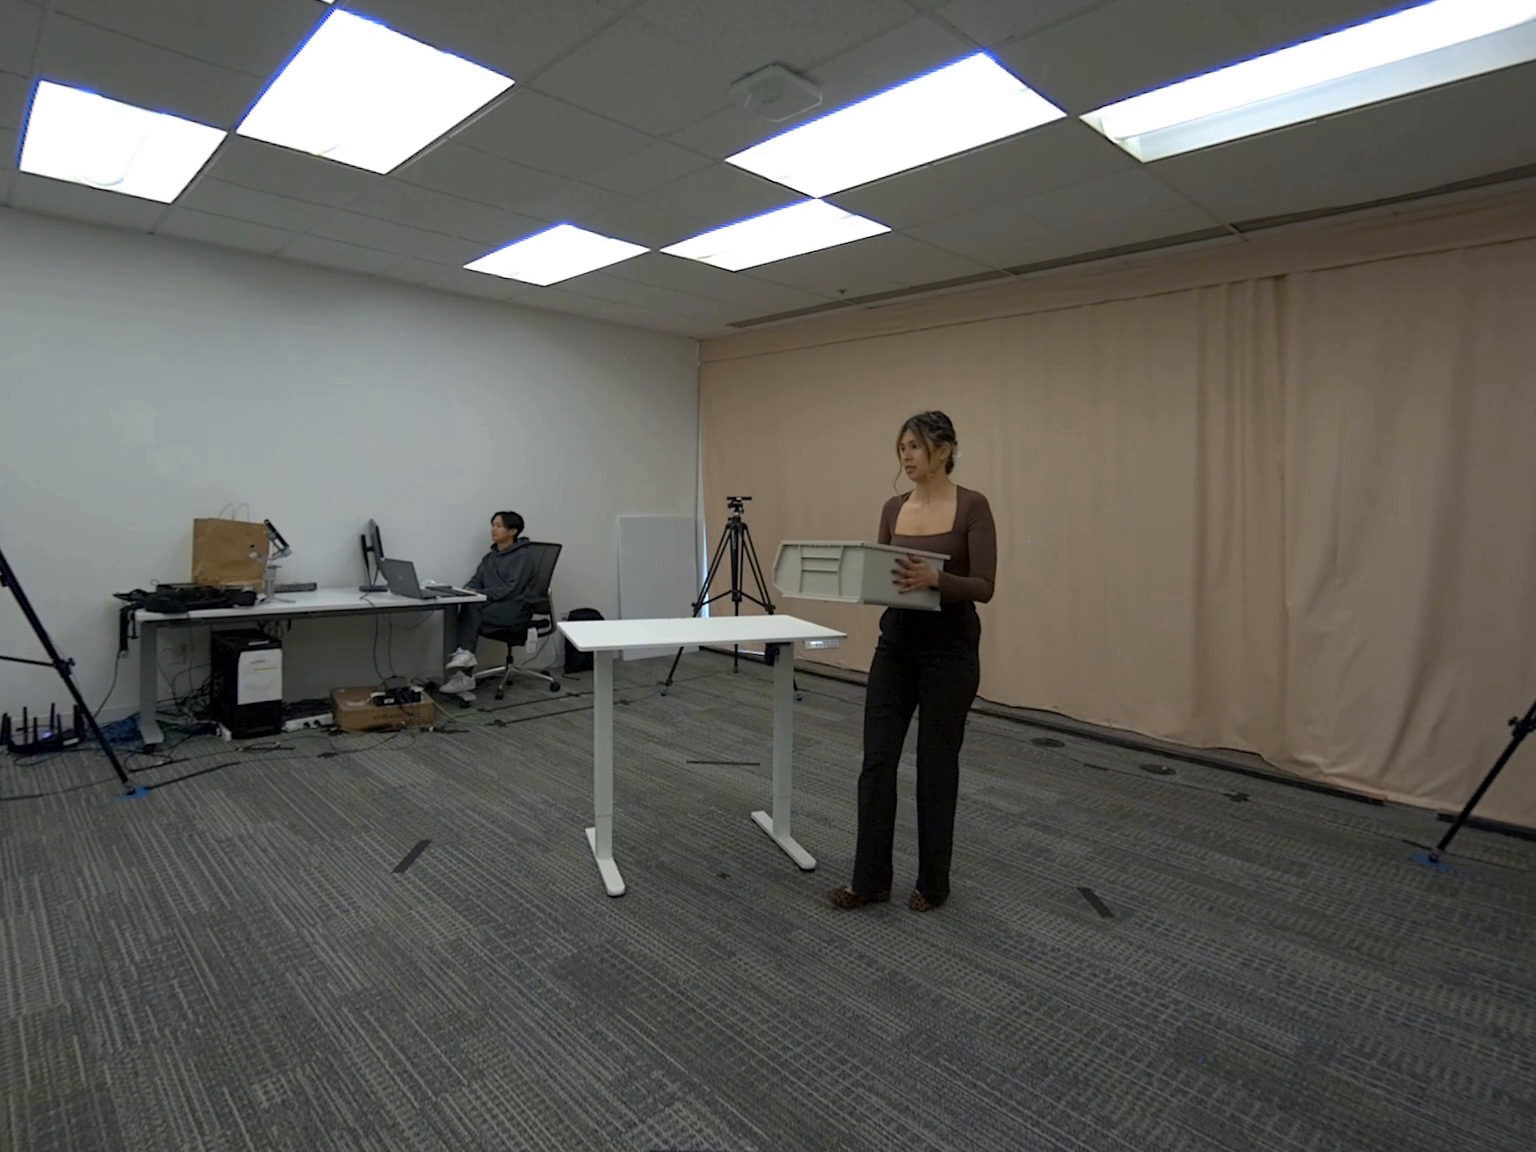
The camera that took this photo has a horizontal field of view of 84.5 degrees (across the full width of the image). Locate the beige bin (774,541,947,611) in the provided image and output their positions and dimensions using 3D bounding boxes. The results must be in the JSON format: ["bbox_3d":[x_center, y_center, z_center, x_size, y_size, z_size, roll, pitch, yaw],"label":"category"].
[{"bbox_3d":[0.286,0.003,2.694,0.411,0.189,0.387,7,-1,-42],"label":"beige bin"}]
